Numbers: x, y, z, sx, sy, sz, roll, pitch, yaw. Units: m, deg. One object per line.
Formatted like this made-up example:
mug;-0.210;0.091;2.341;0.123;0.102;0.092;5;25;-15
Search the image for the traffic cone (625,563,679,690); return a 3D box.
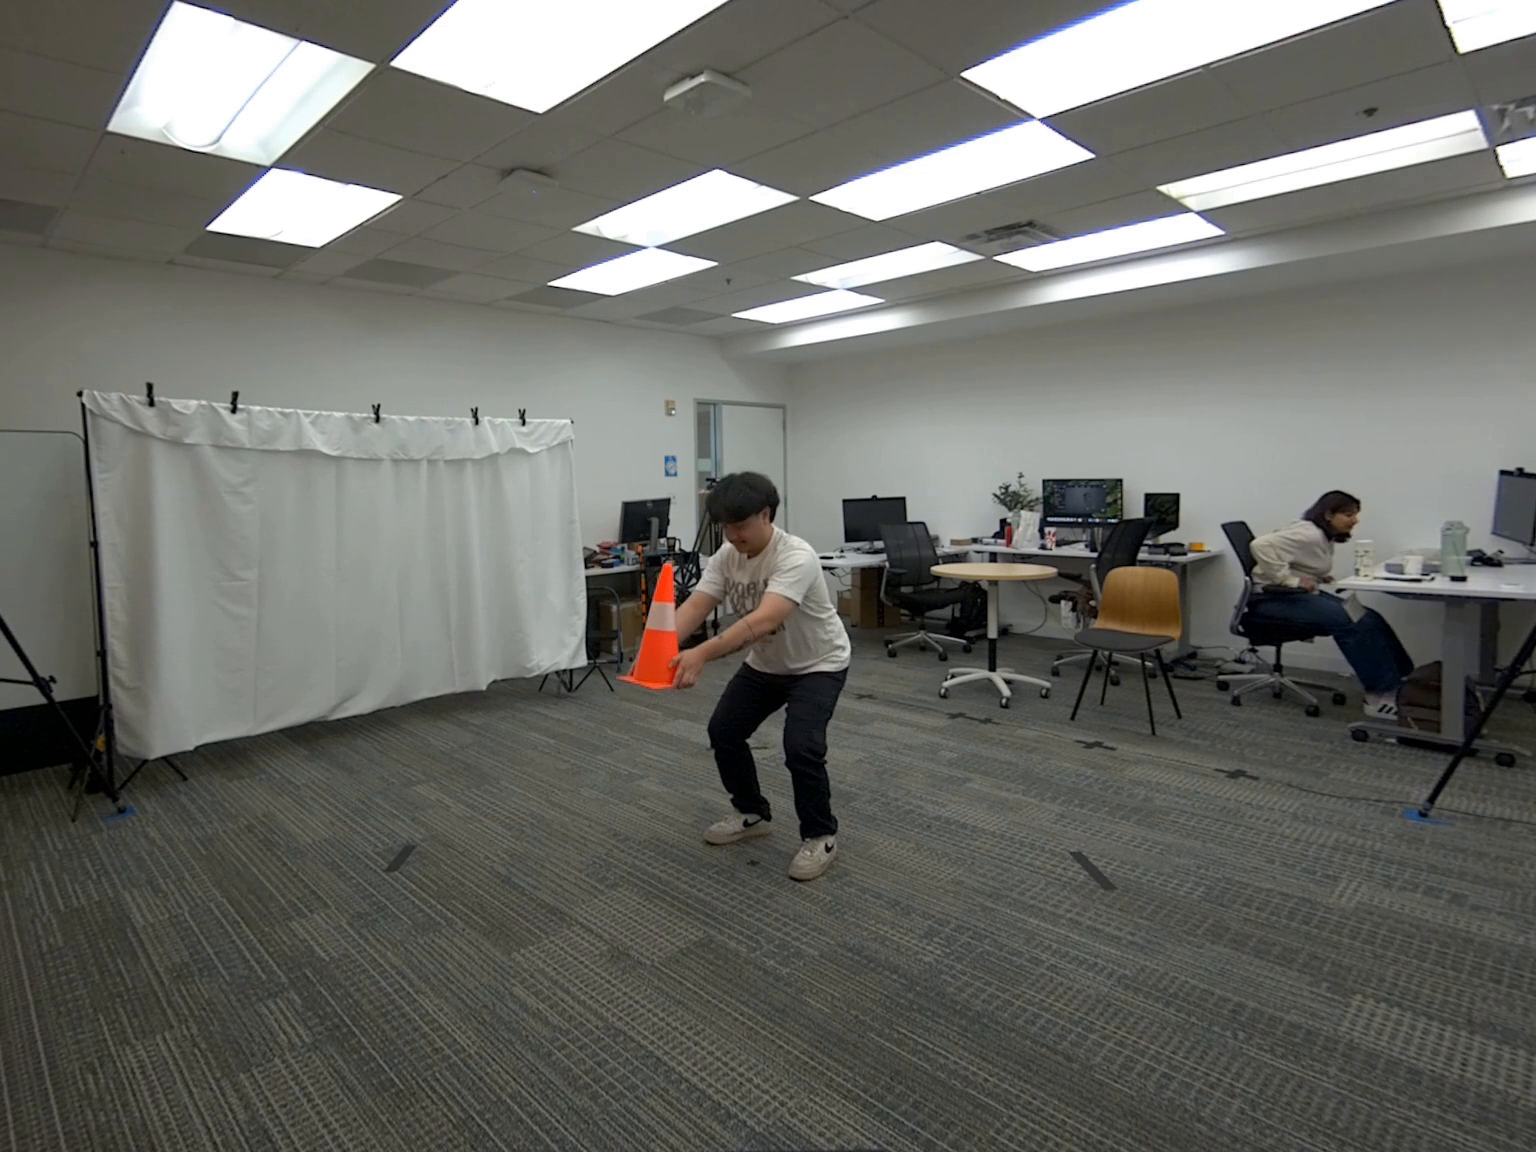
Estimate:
traffic cone;-0.341;0.153;2.774;0.210;0.384;0.198;4;-1;28
